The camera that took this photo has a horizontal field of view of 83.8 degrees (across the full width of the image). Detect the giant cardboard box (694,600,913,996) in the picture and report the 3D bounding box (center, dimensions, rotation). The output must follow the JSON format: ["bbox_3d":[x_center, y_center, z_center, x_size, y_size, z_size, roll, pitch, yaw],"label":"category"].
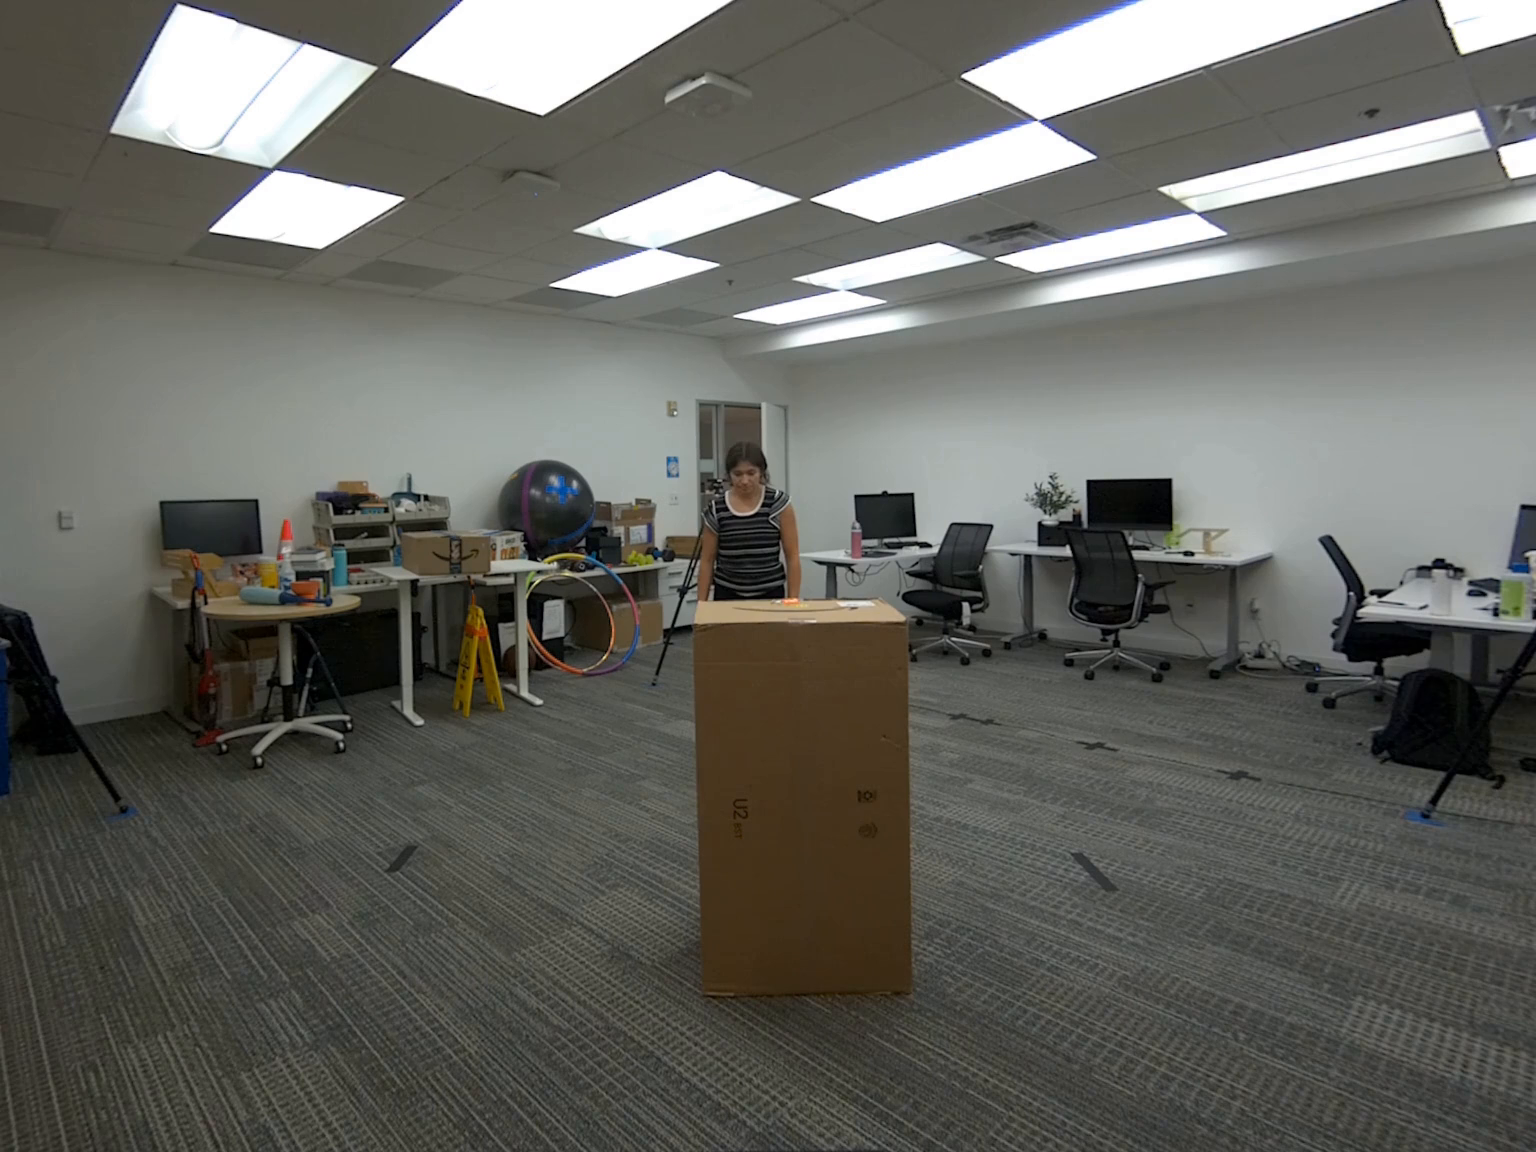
[{"bbox_3d":[0.086,0.606,2.489,0.578,1.022,0.427,-1,4,0],"label":"giant cardboard box"}]
